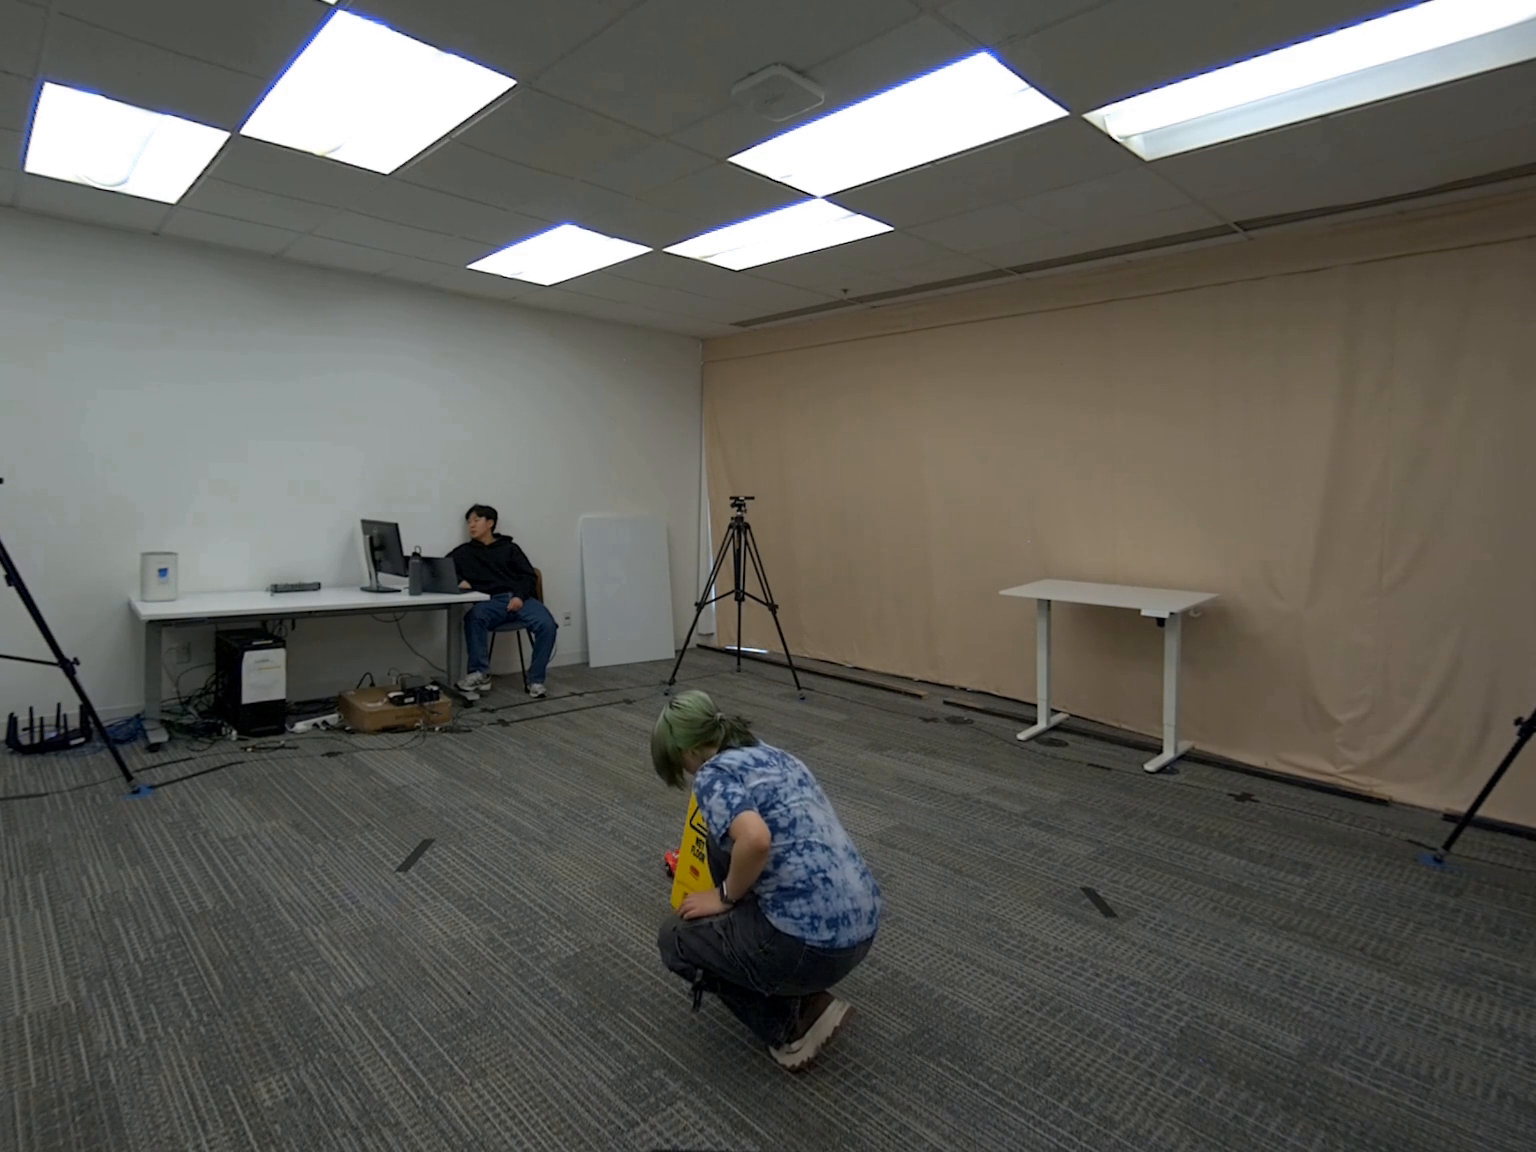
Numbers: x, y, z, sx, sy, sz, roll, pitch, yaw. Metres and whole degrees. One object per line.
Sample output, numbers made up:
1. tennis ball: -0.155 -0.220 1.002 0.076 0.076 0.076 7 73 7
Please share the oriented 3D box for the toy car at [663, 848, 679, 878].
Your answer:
1. toy car: -0.301 1.079 3.066 0.128 0.082 0.262 0 19 -27
